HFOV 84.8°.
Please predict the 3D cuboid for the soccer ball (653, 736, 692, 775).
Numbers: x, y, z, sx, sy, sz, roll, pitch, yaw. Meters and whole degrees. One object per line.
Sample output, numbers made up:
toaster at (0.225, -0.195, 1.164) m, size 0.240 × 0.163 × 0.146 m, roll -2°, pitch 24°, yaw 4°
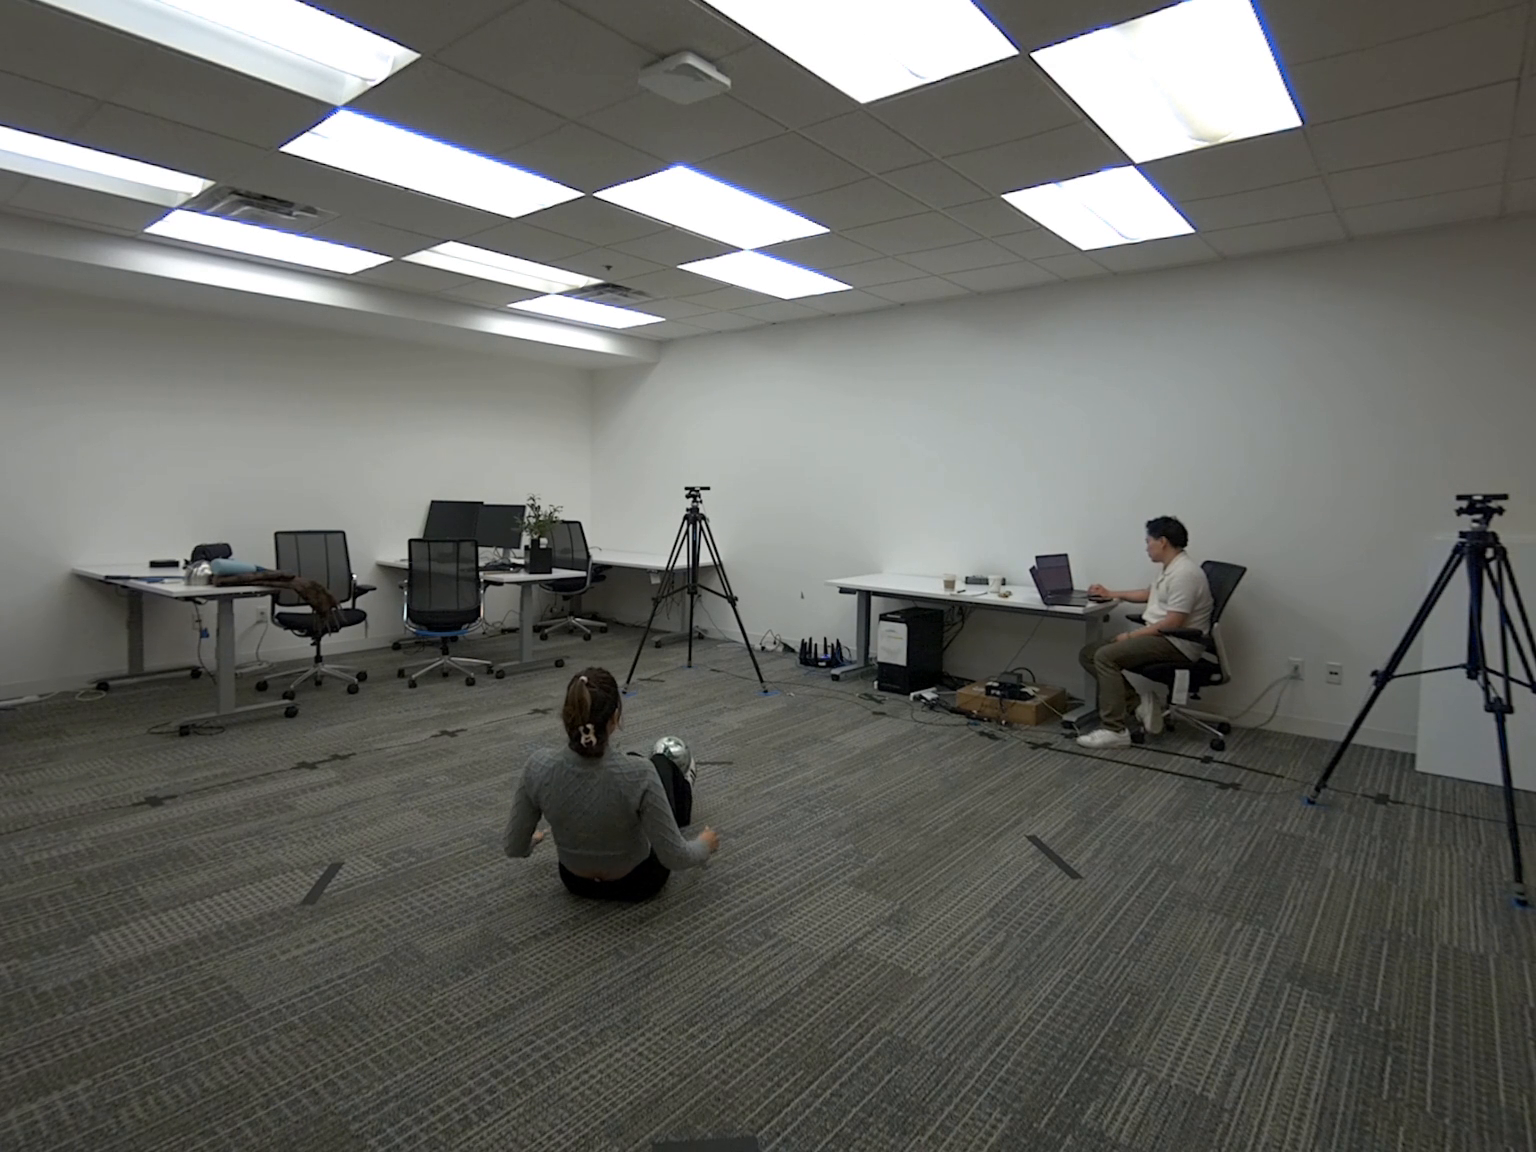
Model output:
soccer ball at (-0.427, 0.776, 3.625) m, size 0.187 × 0.187 × 0.188 m, roll 0°, pitch 4°, yaw -2°
